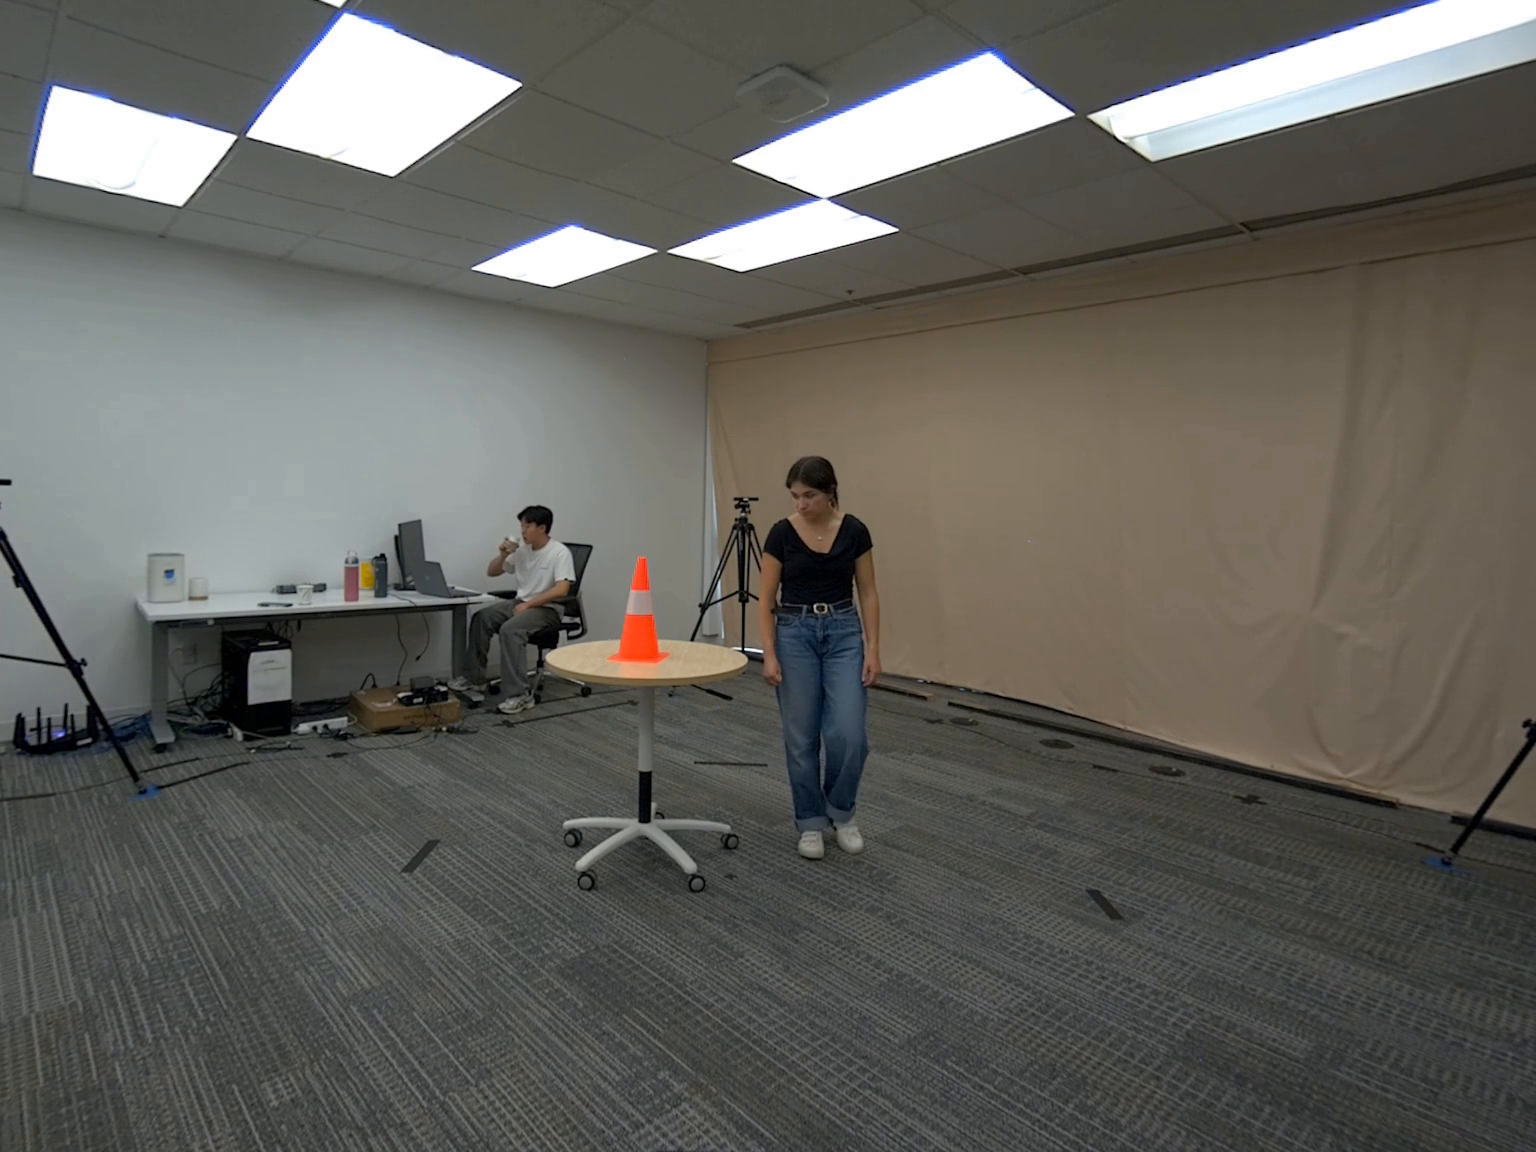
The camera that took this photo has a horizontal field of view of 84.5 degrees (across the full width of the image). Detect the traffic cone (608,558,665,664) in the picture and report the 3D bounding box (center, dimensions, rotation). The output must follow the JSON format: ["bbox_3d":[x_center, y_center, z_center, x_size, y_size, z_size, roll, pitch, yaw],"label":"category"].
[{"bbox_3d":[-0.493,0.125,3.193,0.204,0.383,0.204,2,3,5],"label":"traffic cone"}]
